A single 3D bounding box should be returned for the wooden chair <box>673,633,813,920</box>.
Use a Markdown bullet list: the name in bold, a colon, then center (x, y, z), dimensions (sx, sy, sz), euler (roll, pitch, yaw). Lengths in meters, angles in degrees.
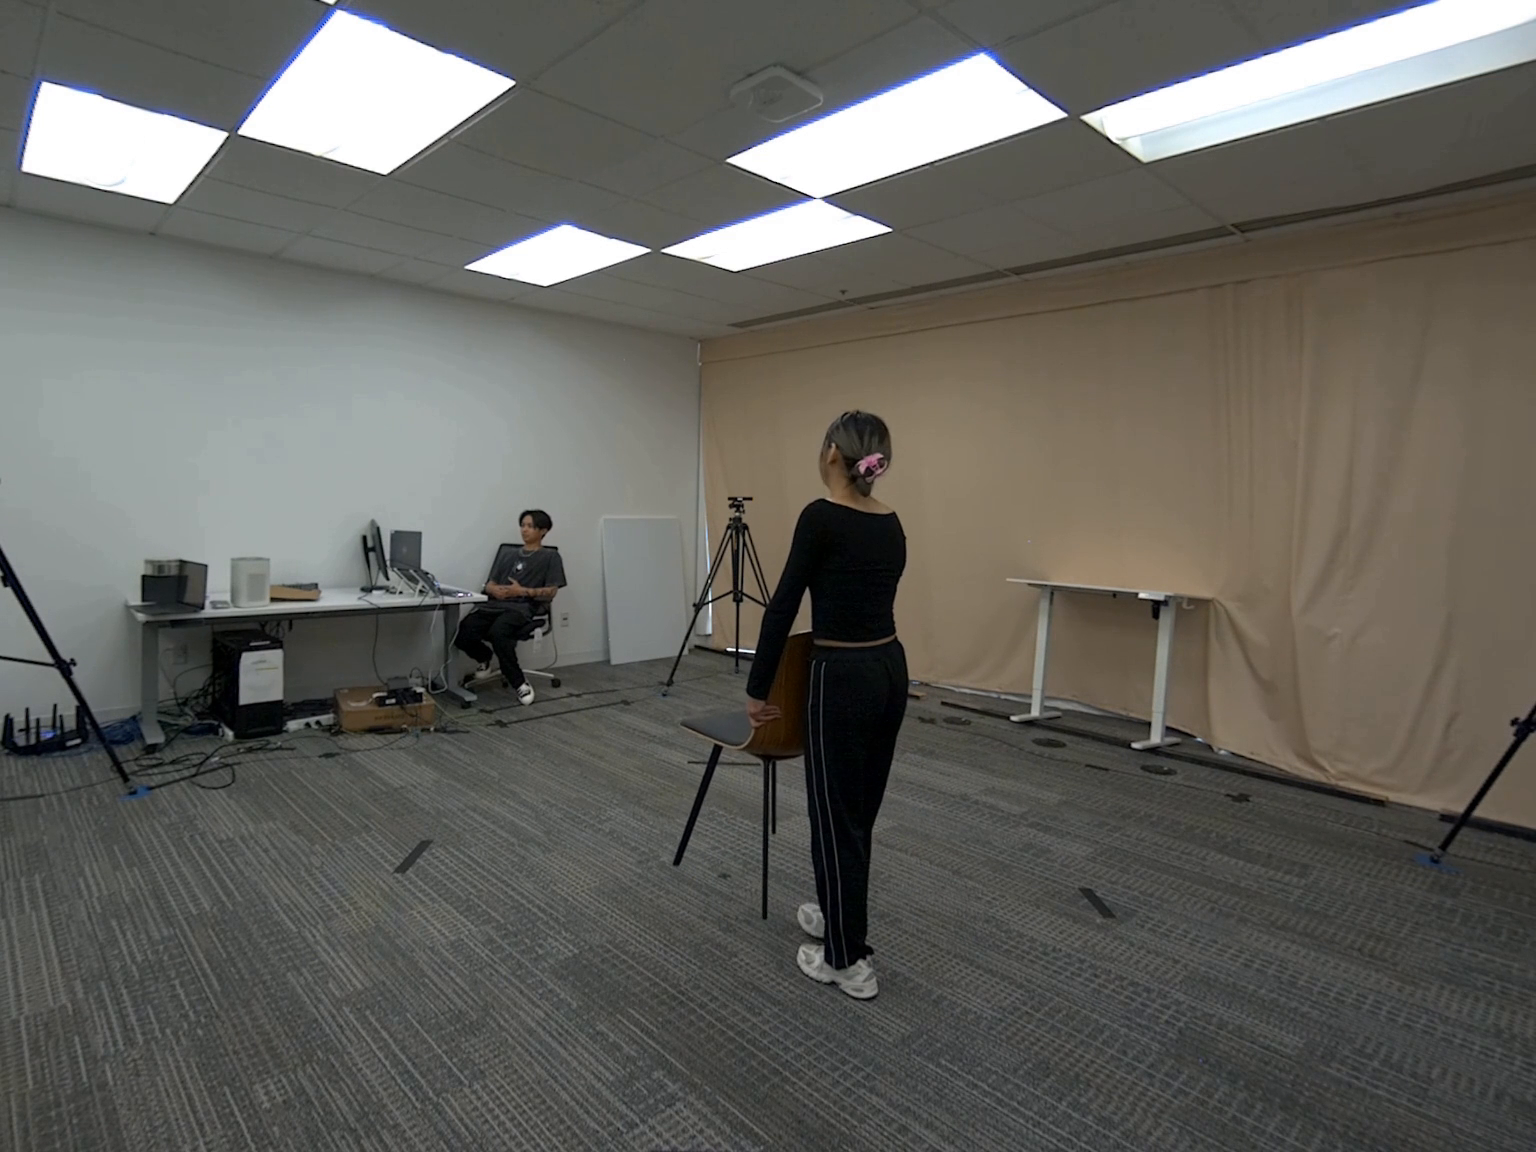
- **wooden chair**: center (0.002, 0.545, 2.726), dimensions (0.467, 0.873, 0.538), euler (-3, 10, -40)
